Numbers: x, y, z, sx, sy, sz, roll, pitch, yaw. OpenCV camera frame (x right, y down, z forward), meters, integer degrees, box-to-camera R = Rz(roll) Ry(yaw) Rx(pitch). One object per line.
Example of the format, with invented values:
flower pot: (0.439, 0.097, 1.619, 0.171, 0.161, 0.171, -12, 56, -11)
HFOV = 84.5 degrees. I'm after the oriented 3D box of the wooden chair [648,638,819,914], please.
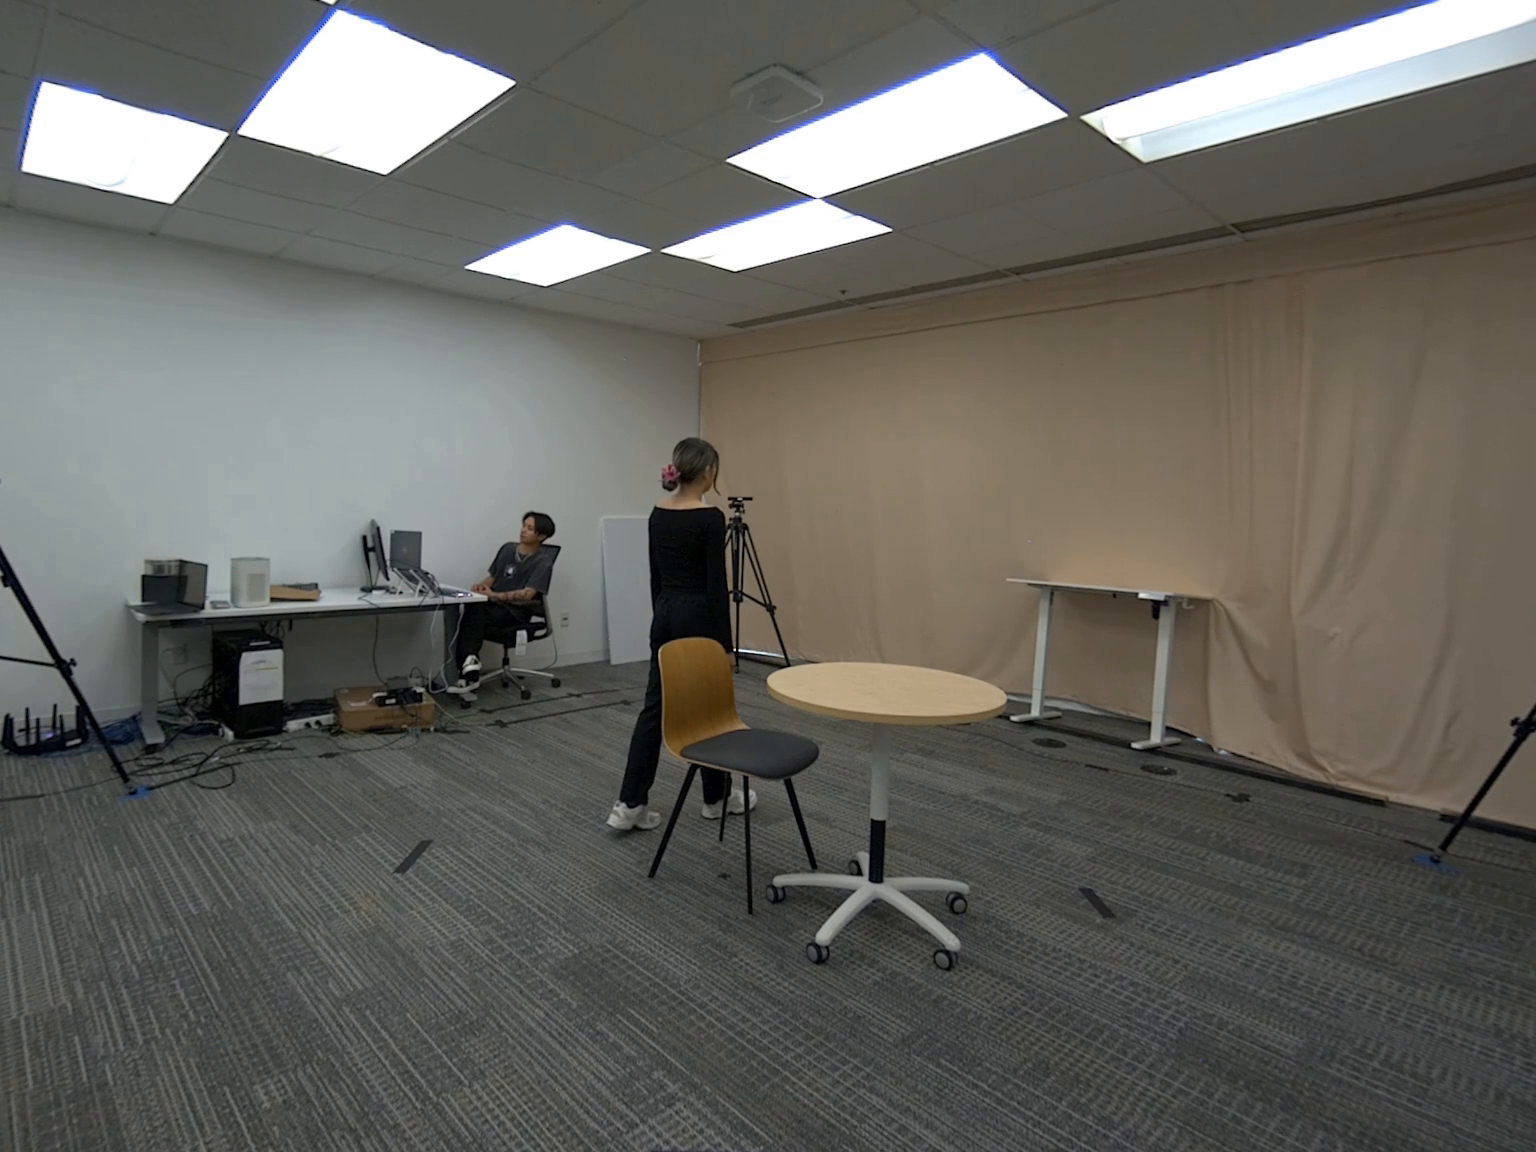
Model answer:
wooden chair: (-0.114, 0.681, 3.093, 0.534, 0.877, 0.468, -2, 1, 35)
